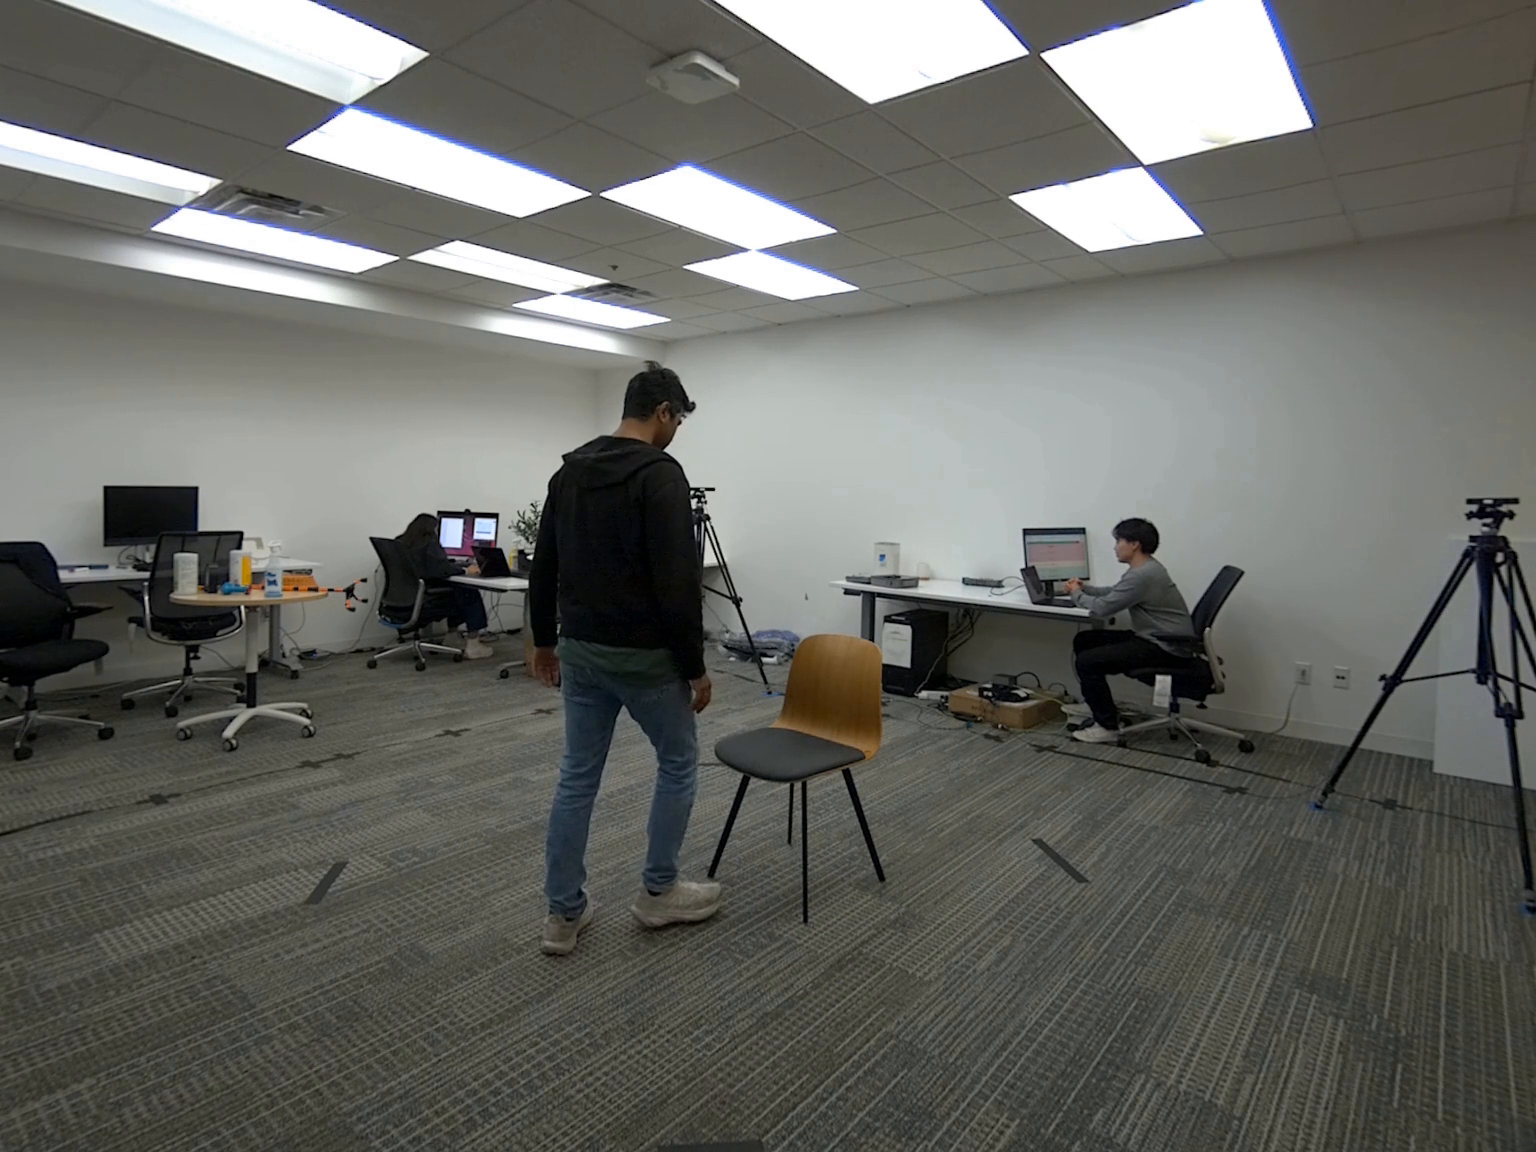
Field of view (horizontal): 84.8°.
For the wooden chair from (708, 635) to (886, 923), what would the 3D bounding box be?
[{"bbox_3d":[0.098,0.656,3.011,0.494,0.877,0.505,5,1,43],"label":"wooden chair"}]
